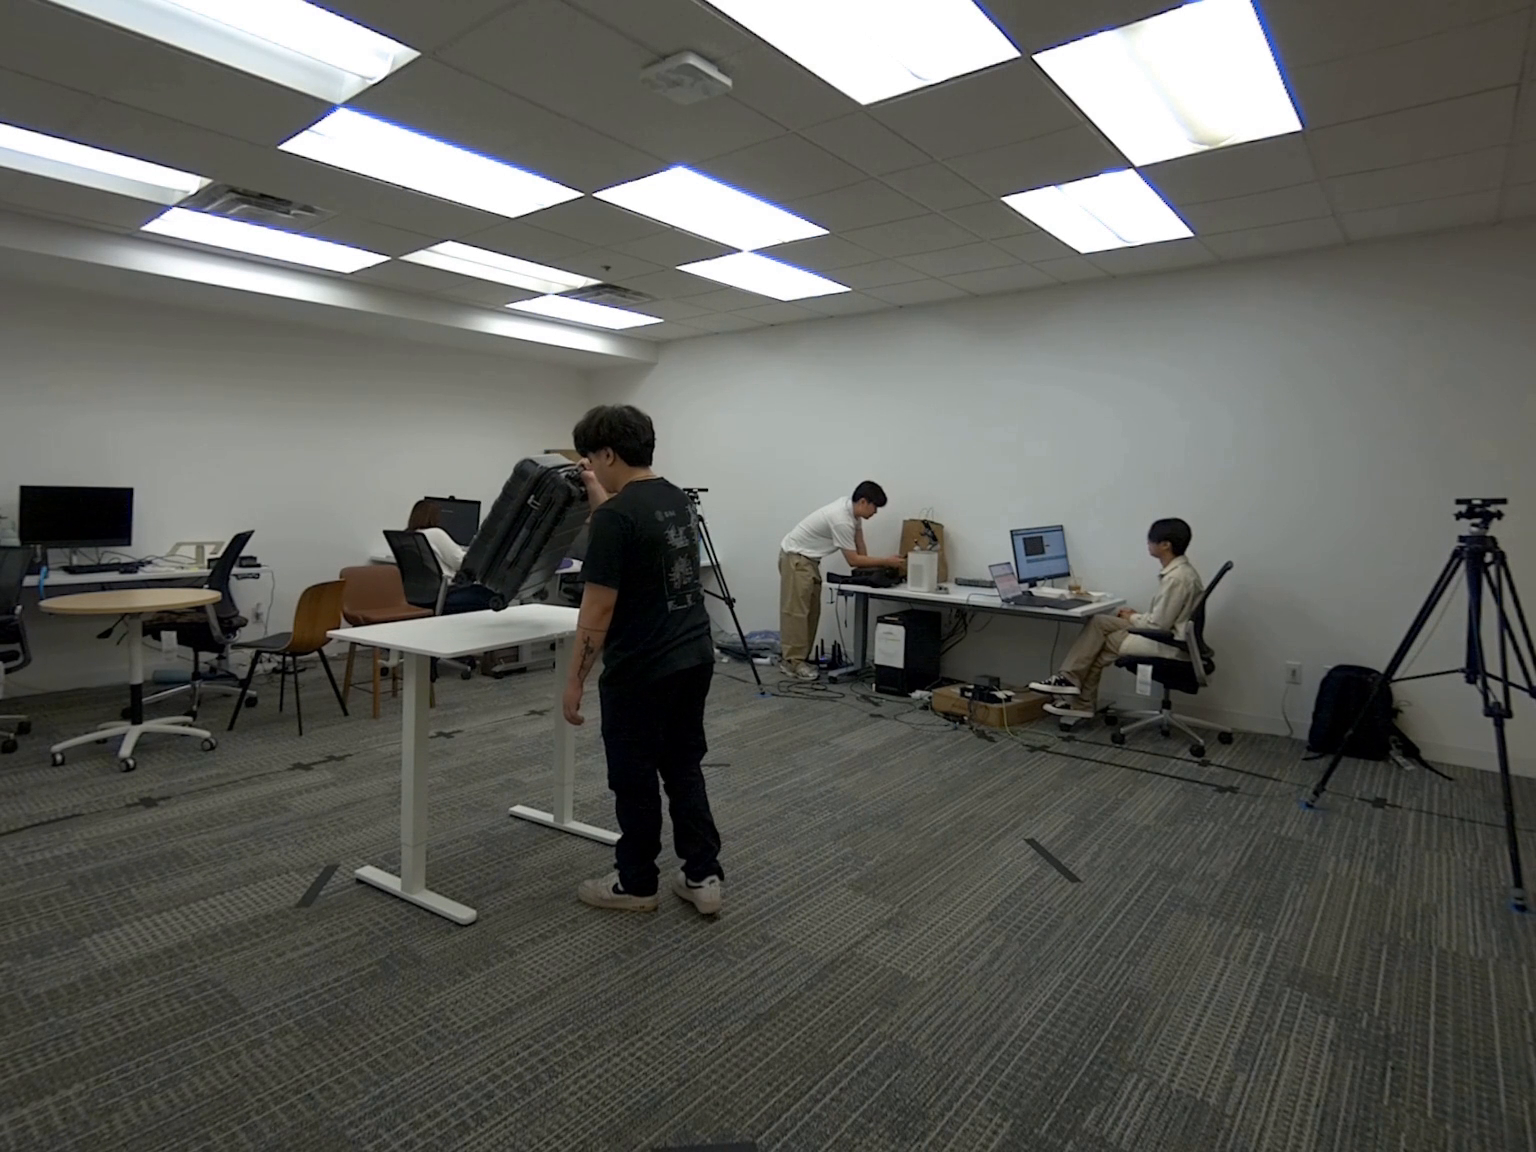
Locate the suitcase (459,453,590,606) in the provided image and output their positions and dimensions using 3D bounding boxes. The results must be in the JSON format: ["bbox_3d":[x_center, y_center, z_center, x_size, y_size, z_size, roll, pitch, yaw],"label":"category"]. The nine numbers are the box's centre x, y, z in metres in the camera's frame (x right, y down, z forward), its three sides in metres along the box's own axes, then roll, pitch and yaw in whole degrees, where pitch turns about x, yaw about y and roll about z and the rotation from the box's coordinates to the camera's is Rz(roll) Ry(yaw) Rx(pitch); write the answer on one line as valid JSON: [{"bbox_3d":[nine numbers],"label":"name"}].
[{"bbox_3d":[-0.872,-0.175,3.103,0.250,0.547,0.374,33,12,4],"label":"suitcase"}]
